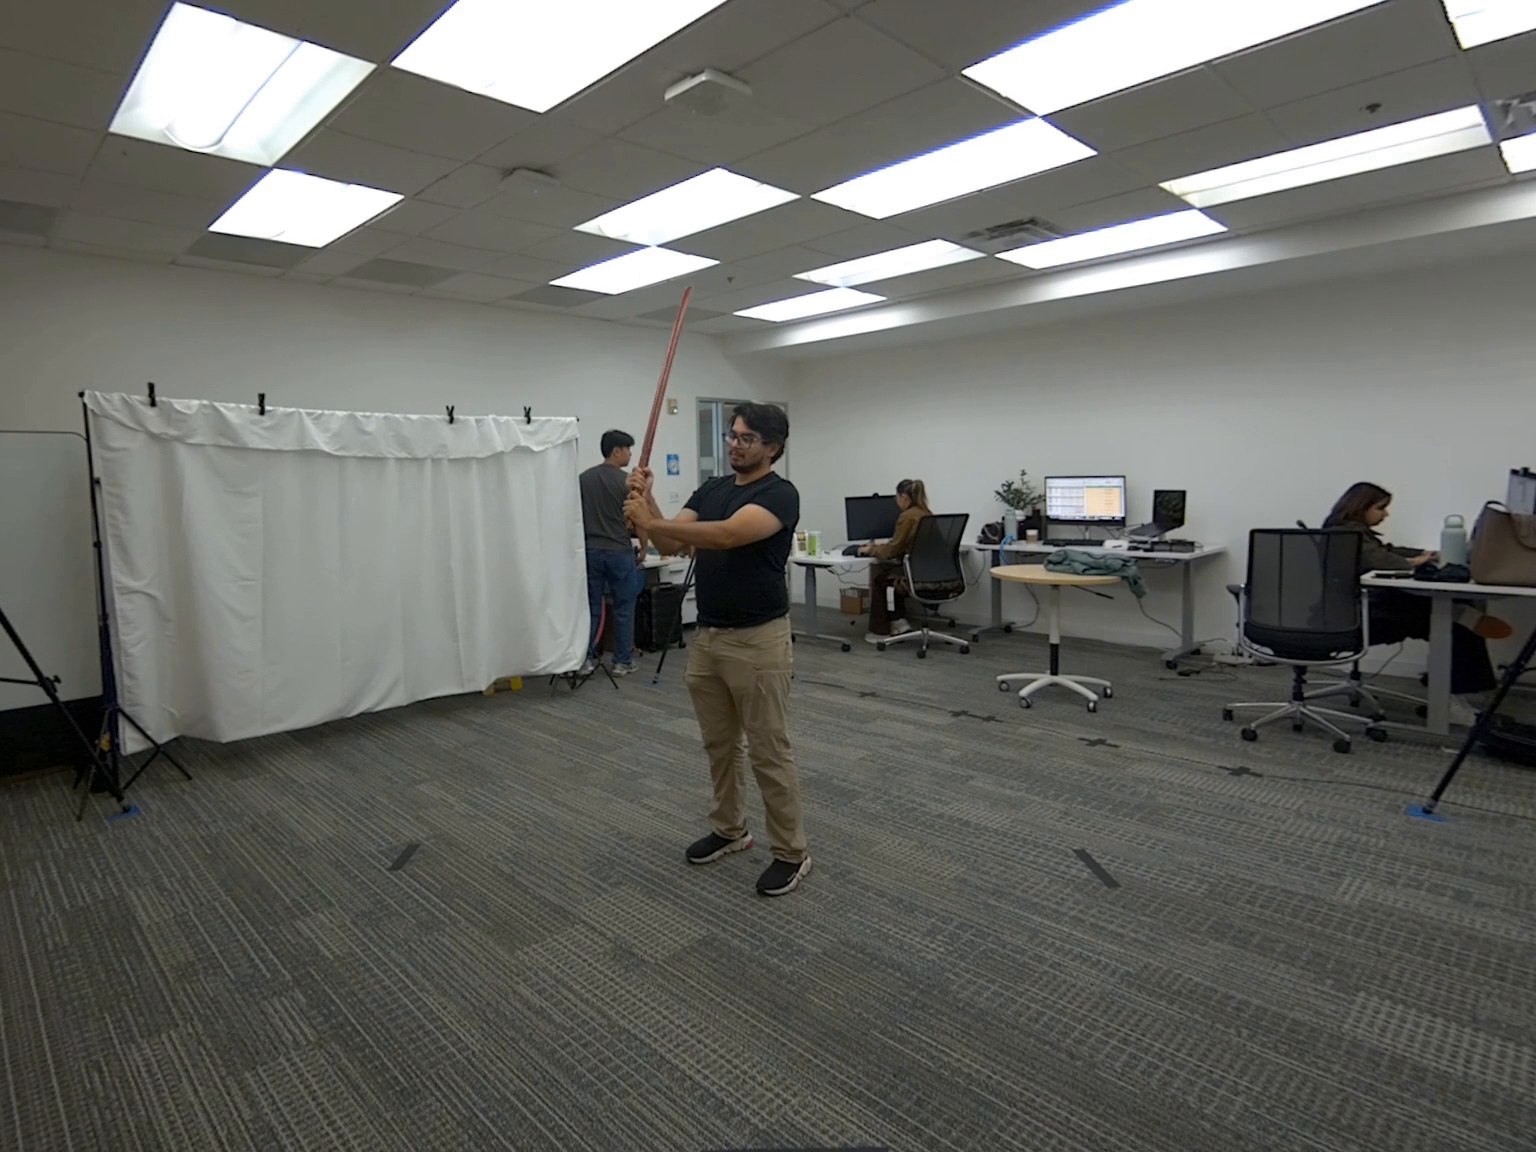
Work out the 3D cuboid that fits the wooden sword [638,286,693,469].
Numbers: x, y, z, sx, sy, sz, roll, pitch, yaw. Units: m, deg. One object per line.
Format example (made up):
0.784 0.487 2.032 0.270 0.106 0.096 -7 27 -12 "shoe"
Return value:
-0.378 -0.611 2.965 0.024 1.041 0.050 7 -24 6 "wooden sword"
